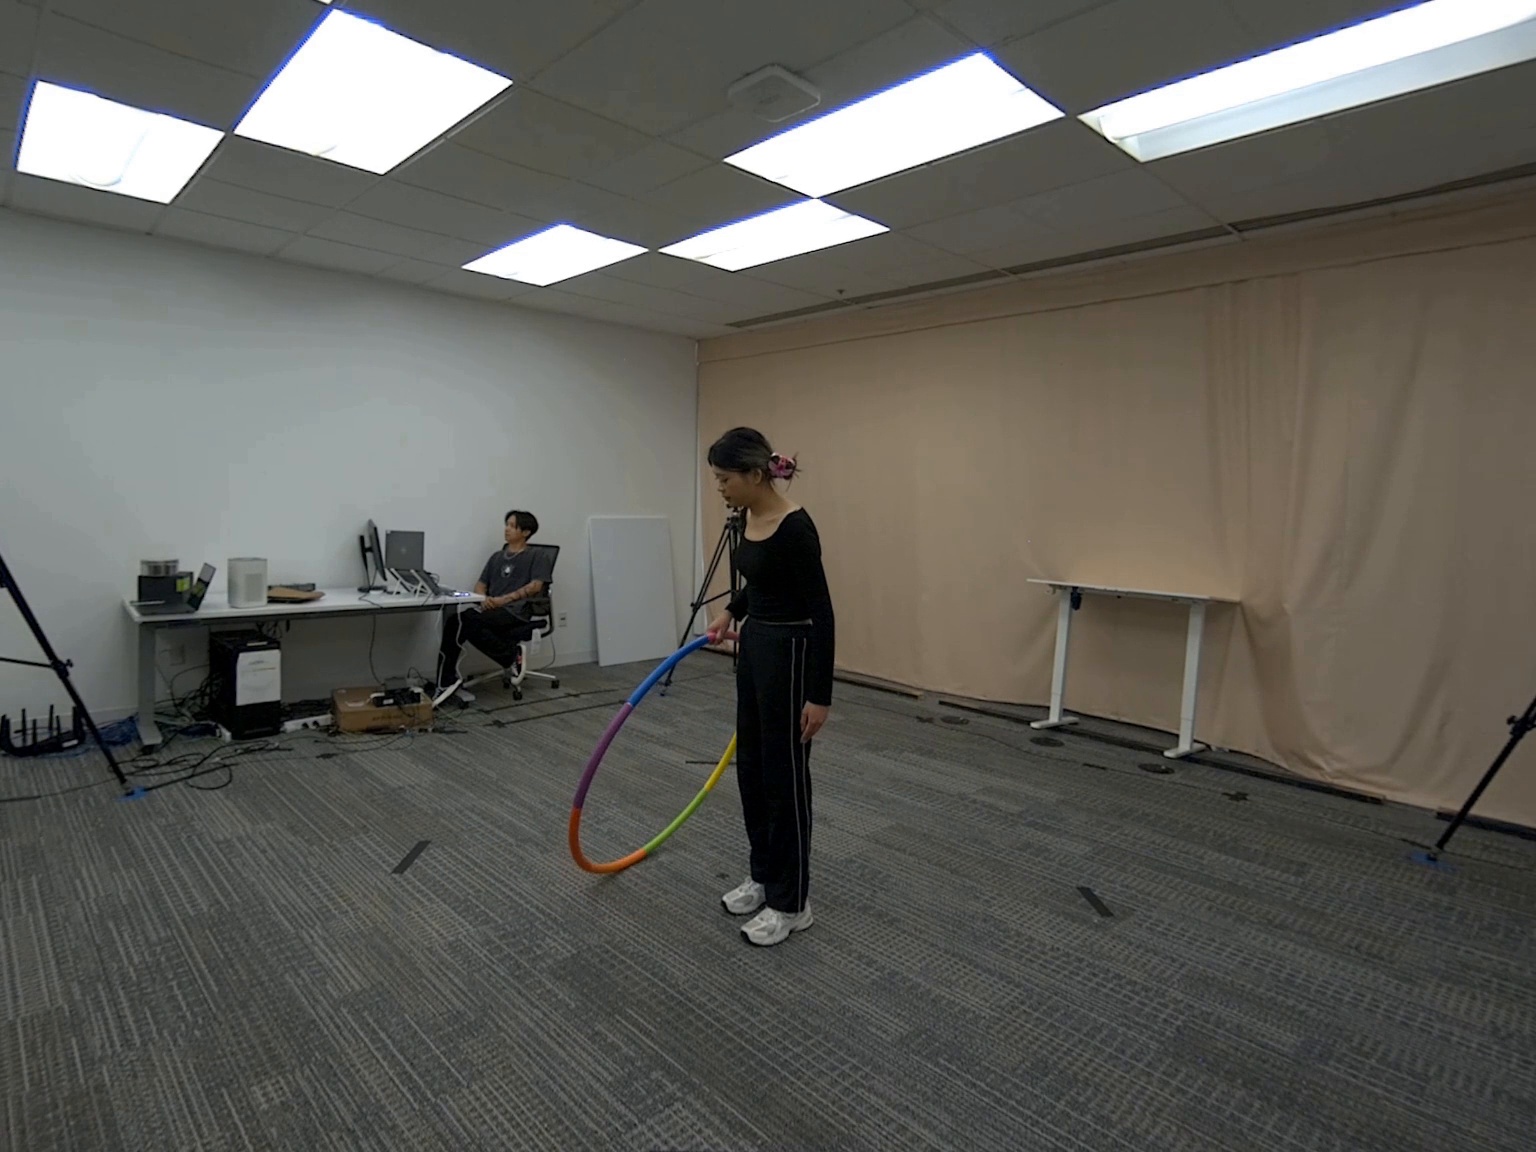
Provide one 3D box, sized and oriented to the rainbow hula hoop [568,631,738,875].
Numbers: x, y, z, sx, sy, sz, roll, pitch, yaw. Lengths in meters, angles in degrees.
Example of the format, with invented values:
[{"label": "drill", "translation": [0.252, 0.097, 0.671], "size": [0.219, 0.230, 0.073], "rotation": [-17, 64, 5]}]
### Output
[{"label": "rainbow hula hoop", "translation": [-0.353, 0.641, 3.071], "size": [0.036, 0.972, 0.960], "rotation": [29, 18, 26]}]
